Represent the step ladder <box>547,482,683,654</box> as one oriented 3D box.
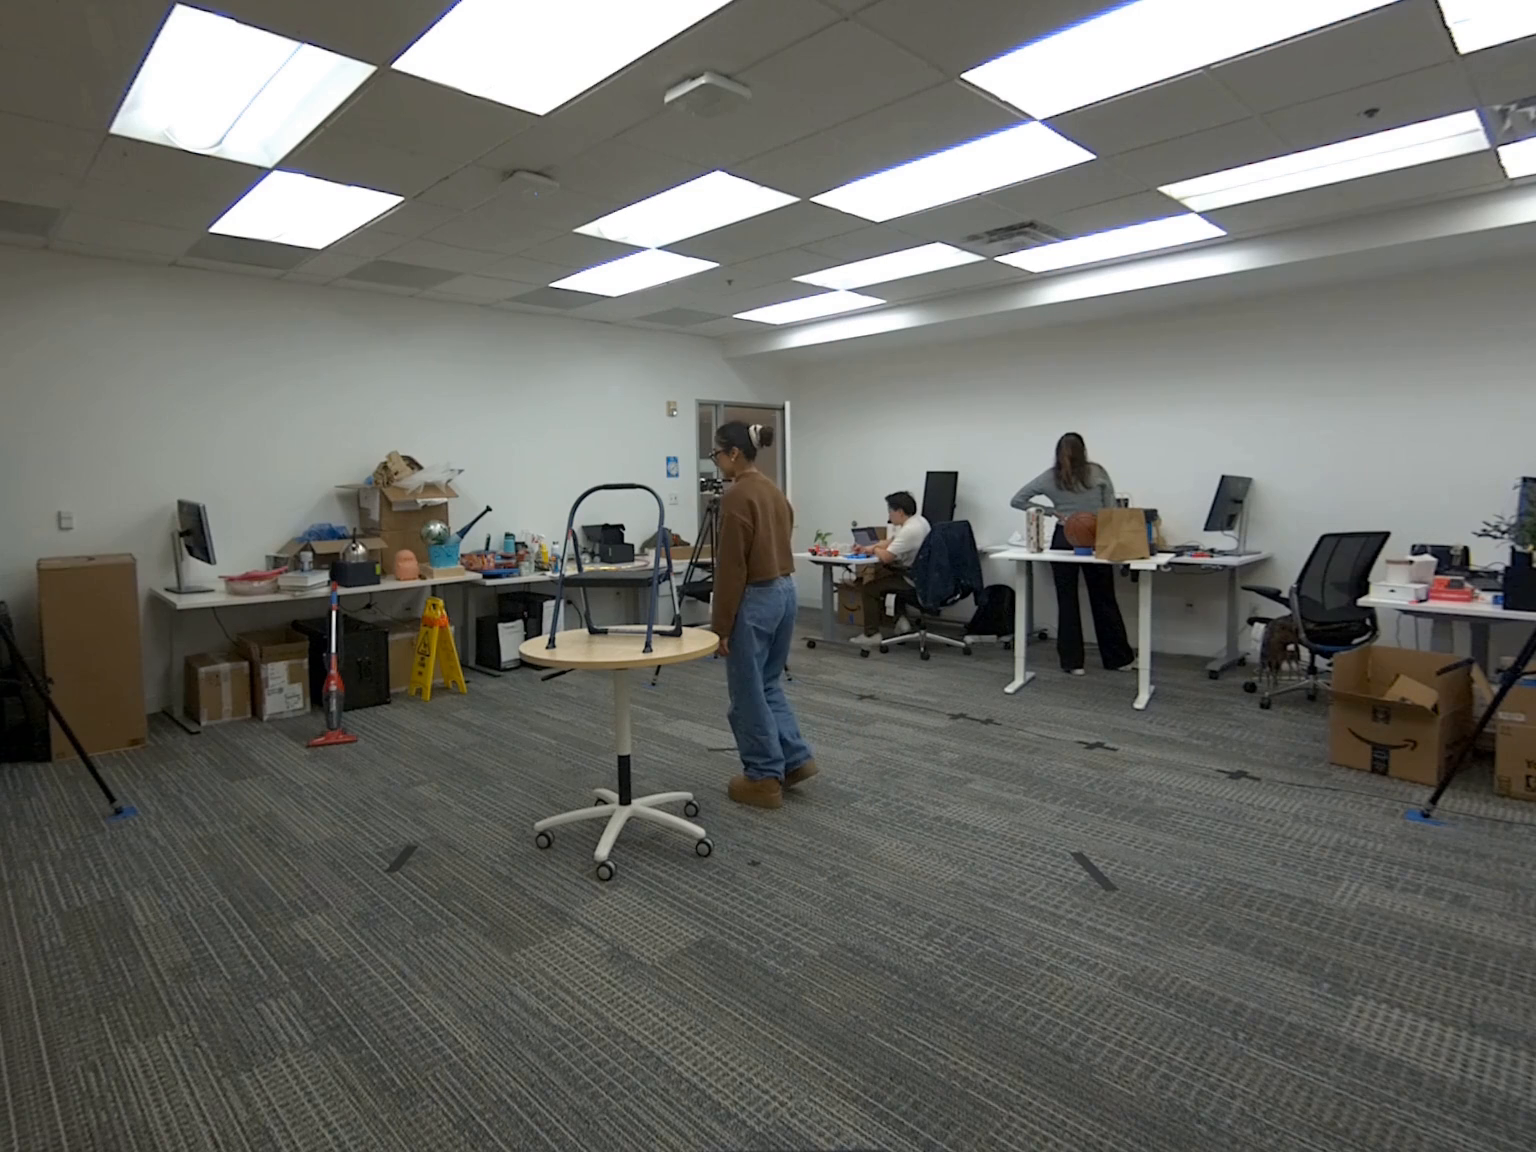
[{"bbox_3d":[-0.589,-0.045,3.263,0.438,0.604,0.345,0,5,18],"label":"step ladder"}]
